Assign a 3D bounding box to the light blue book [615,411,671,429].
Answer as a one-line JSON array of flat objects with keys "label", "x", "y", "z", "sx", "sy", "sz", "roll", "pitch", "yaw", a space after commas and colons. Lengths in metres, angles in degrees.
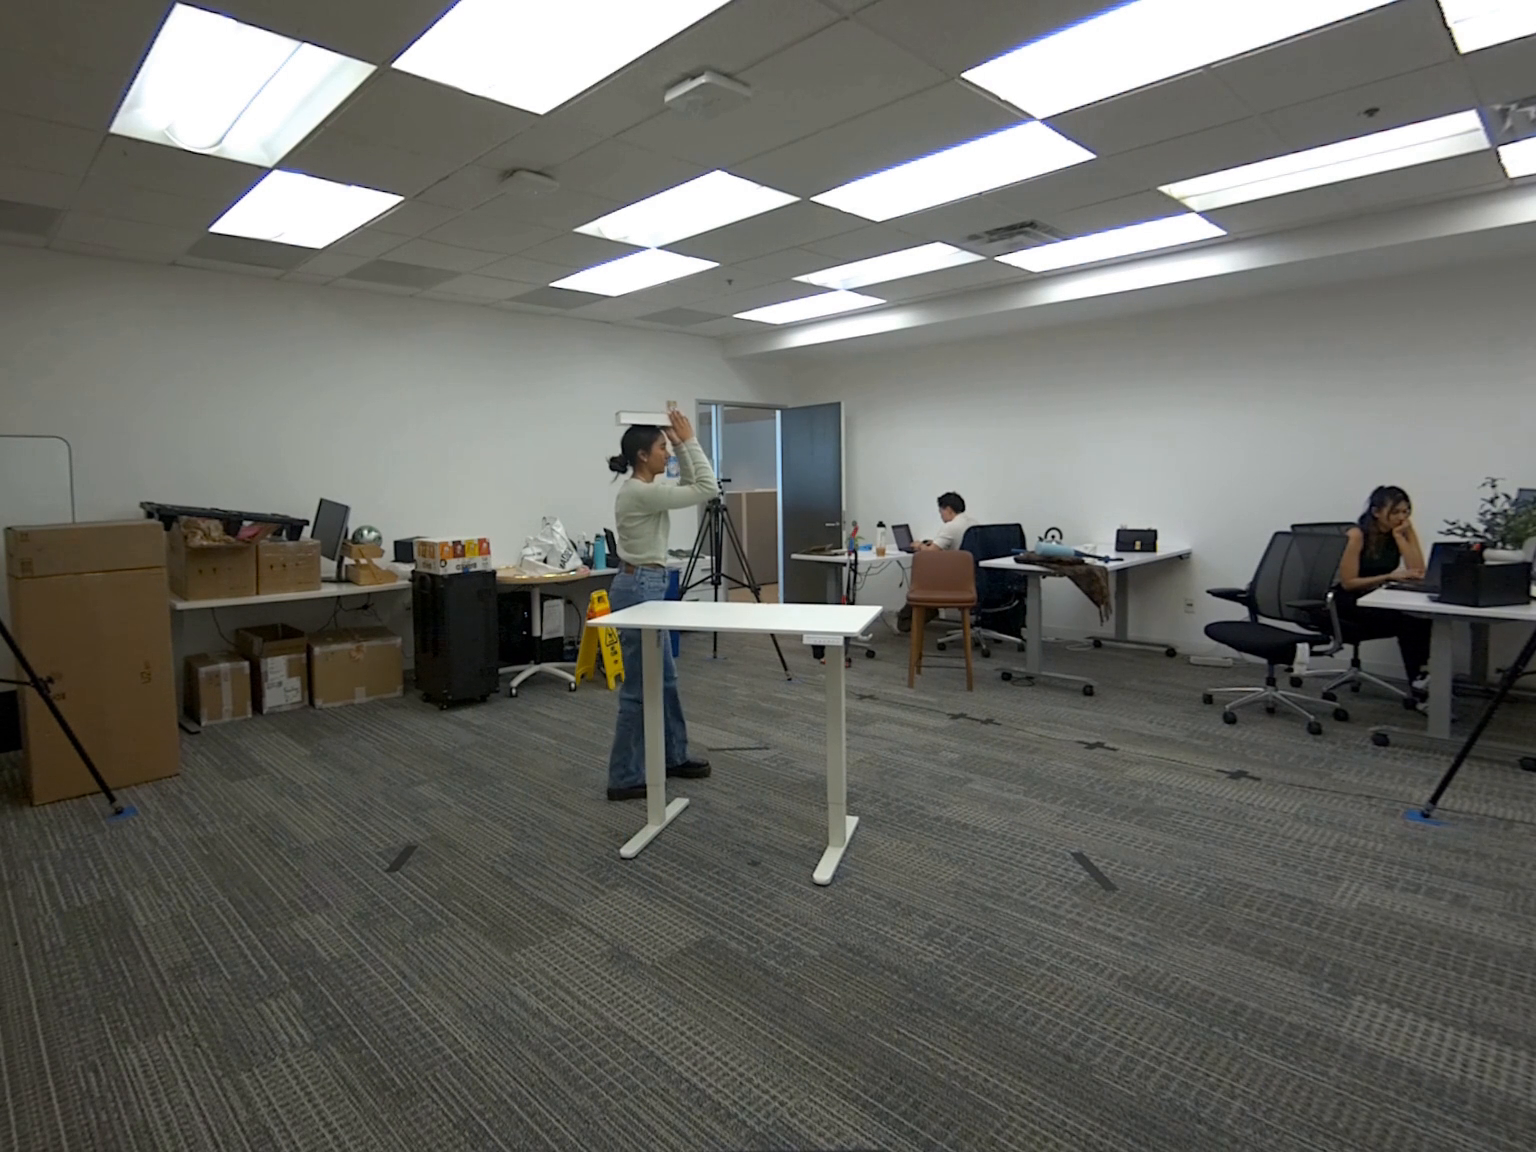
[{"label": "light blue book", "x": -0.545, "y": -0.696, "z": 3.823, "sx": 0.258, "sy": 0.059, "sz": 0.194, "roll": 1, "pitch": 5, "yaw": -10}]
